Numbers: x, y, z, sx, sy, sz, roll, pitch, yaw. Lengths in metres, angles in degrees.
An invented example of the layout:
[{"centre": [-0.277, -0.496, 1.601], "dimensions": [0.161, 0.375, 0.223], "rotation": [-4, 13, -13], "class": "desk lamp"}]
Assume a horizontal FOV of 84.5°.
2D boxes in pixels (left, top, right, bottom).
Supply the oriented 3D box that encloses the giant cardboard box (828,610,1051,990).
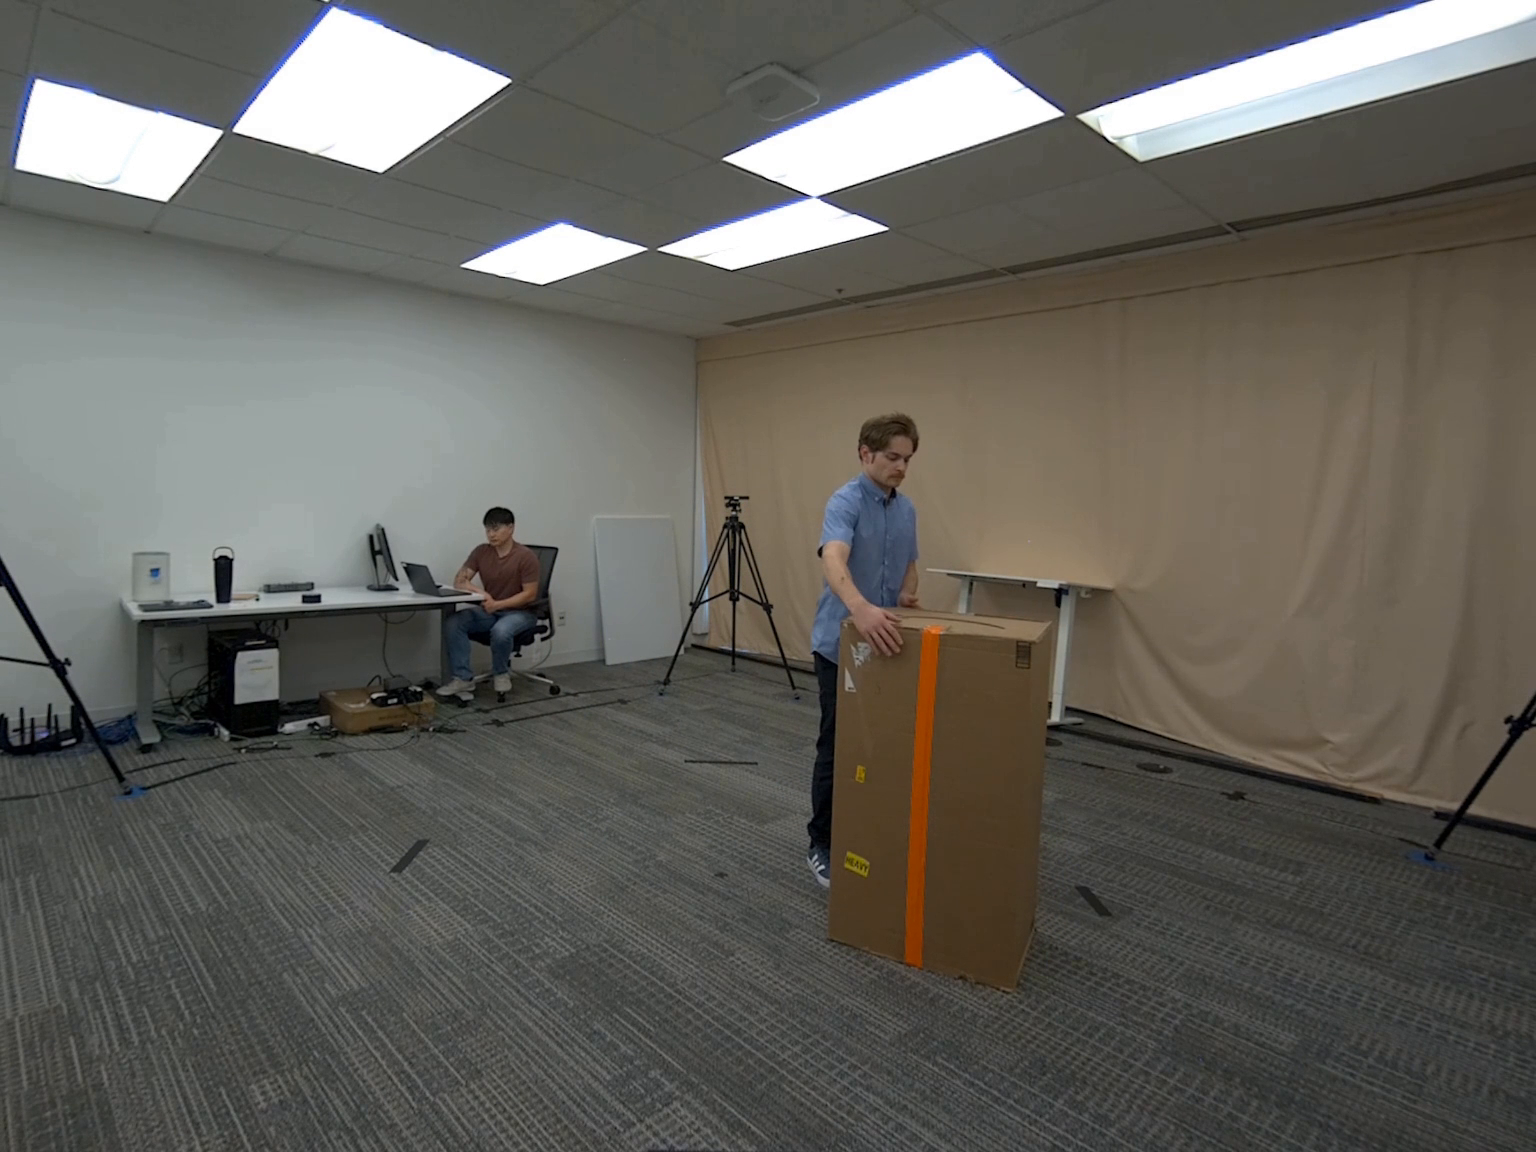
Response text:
[{"centre": [0.553, 0.654, 2.673], "dimensions": [0.590, 1.023, 0.418], "rotation": [4, 5, 28], "class": "giant cardboard box"}]
